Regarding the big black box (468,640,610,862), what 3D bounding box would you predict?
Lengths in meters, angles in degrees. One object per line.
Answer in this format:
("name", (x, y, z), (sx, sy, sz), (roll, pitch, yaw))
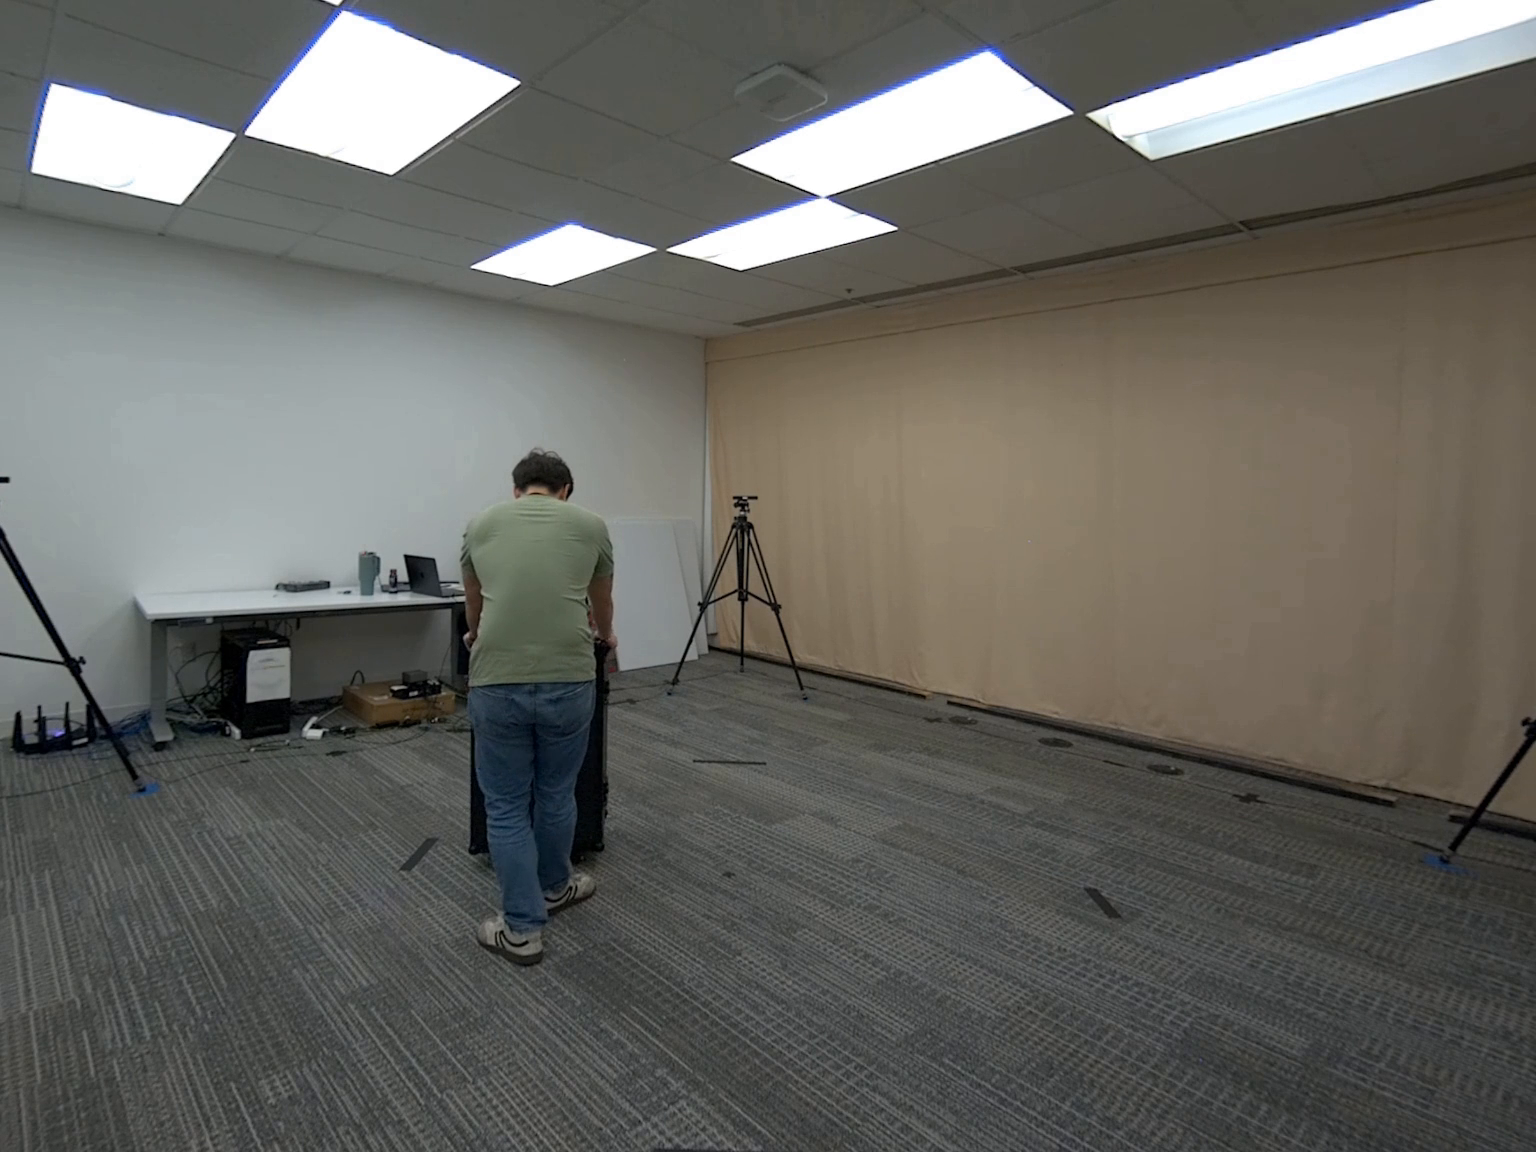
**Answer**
("big black box", (-0.882, 0.651, 3.256), (0.518, 0.860, 0.399), (1, 2, -8))
